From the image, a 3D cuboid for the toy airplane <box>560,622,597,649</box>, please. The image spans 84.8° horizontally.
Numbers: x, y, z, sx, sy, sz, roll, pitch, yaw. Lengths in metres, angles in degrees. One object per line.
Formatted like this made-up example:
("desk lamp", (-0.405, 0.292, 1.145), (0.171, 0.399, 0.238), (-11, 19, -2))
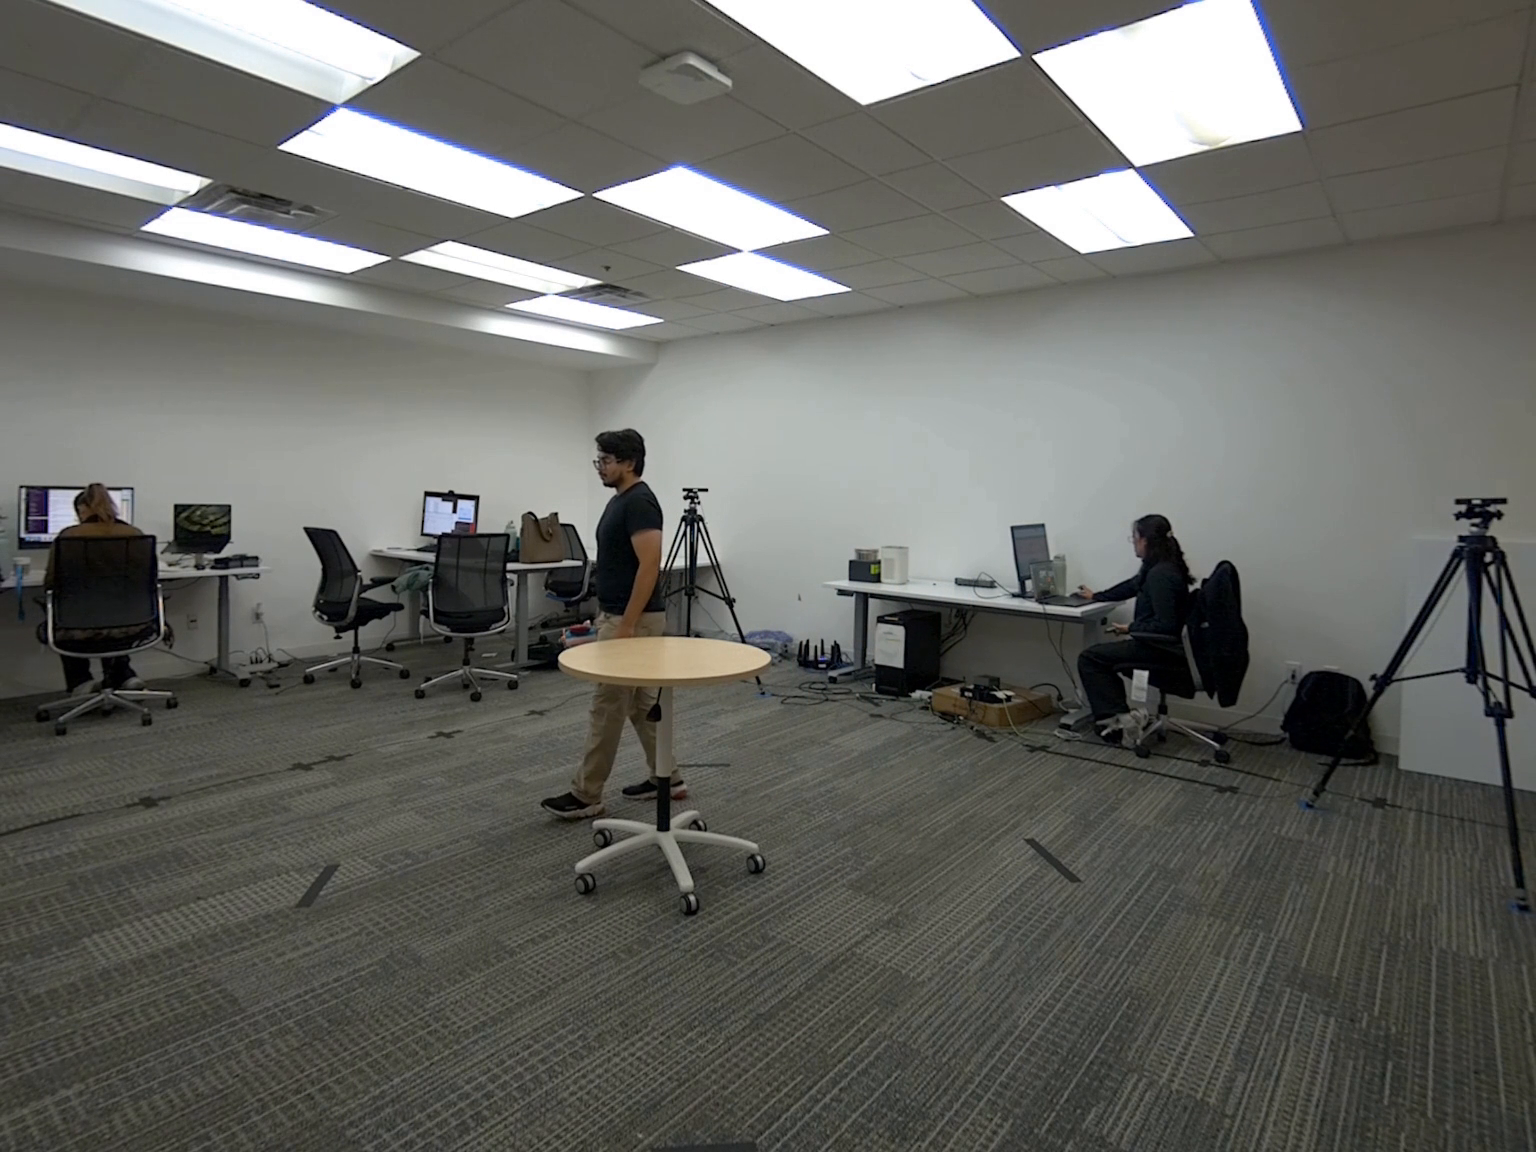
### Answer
("toy airplane", (-0.860, 0.293, 4.035), (0.254, 0.158, 0.254), (-19, -7, -35))
